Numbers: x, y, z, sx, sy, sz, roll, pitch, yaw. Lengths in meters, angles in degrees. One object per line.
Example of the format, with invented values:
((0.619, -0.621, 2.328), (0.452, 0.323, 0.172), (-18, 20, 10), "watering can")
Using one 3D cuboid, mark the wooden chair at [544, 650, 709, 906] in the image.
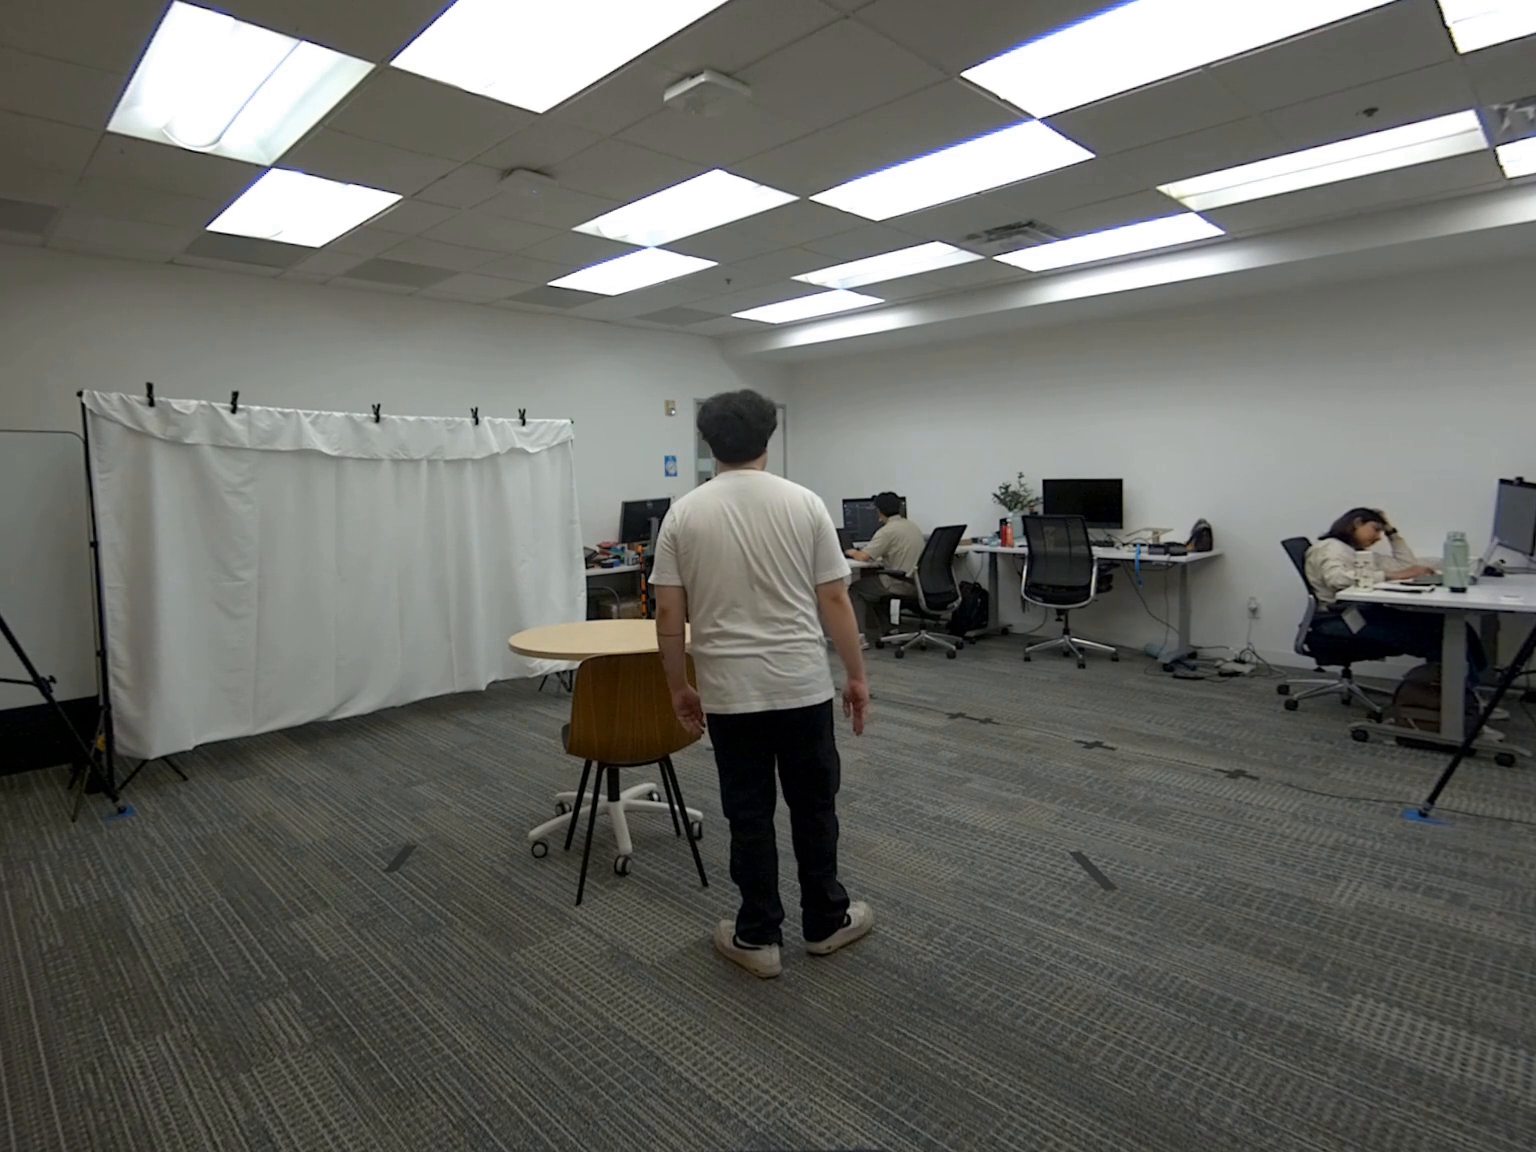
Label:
((-0.490, 0.627, 3.059), (0.471, 0.870, 0.535), (-3, 9, -17), "wooden chair")
